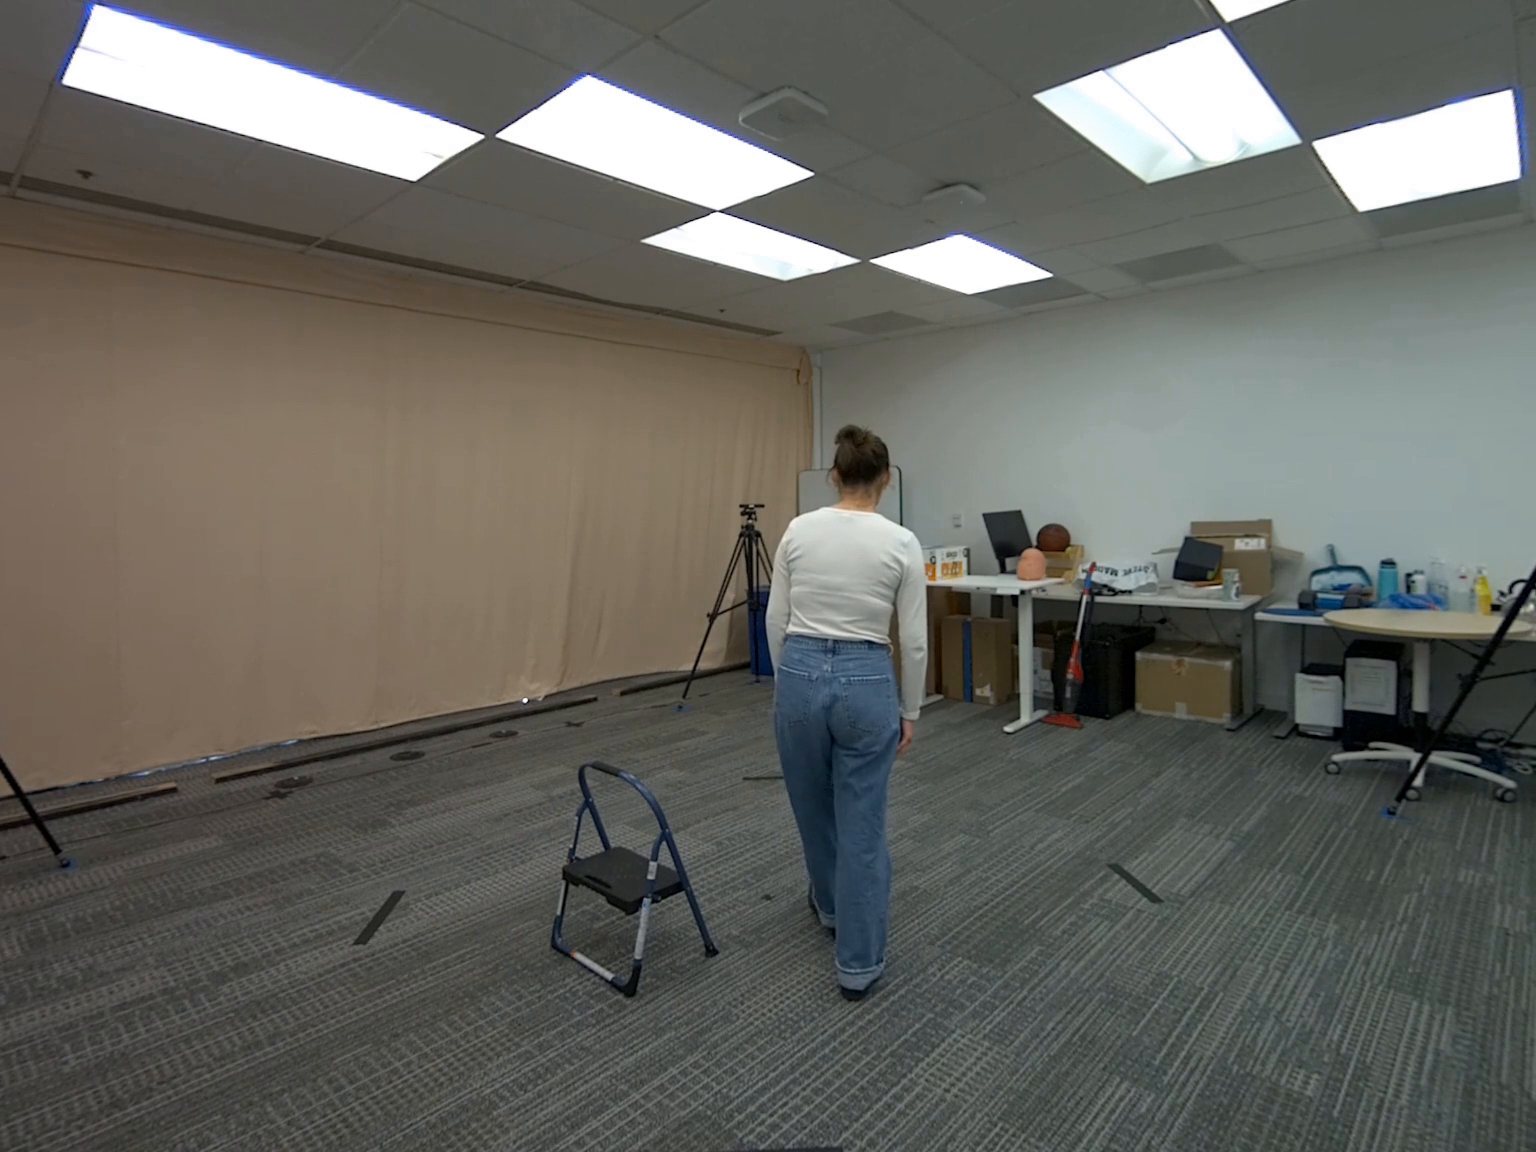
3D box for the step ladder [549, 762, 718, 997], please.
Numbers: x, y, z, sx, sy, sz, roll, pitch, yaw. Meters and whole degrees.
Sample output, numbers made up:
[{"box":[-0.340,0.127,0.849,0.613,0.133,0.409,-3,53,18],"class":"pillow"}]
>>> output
[{"box":[-0.431,0.879,2.636,0.445,0.605,0.339,2,5,43],"class":"step ladder"}]
